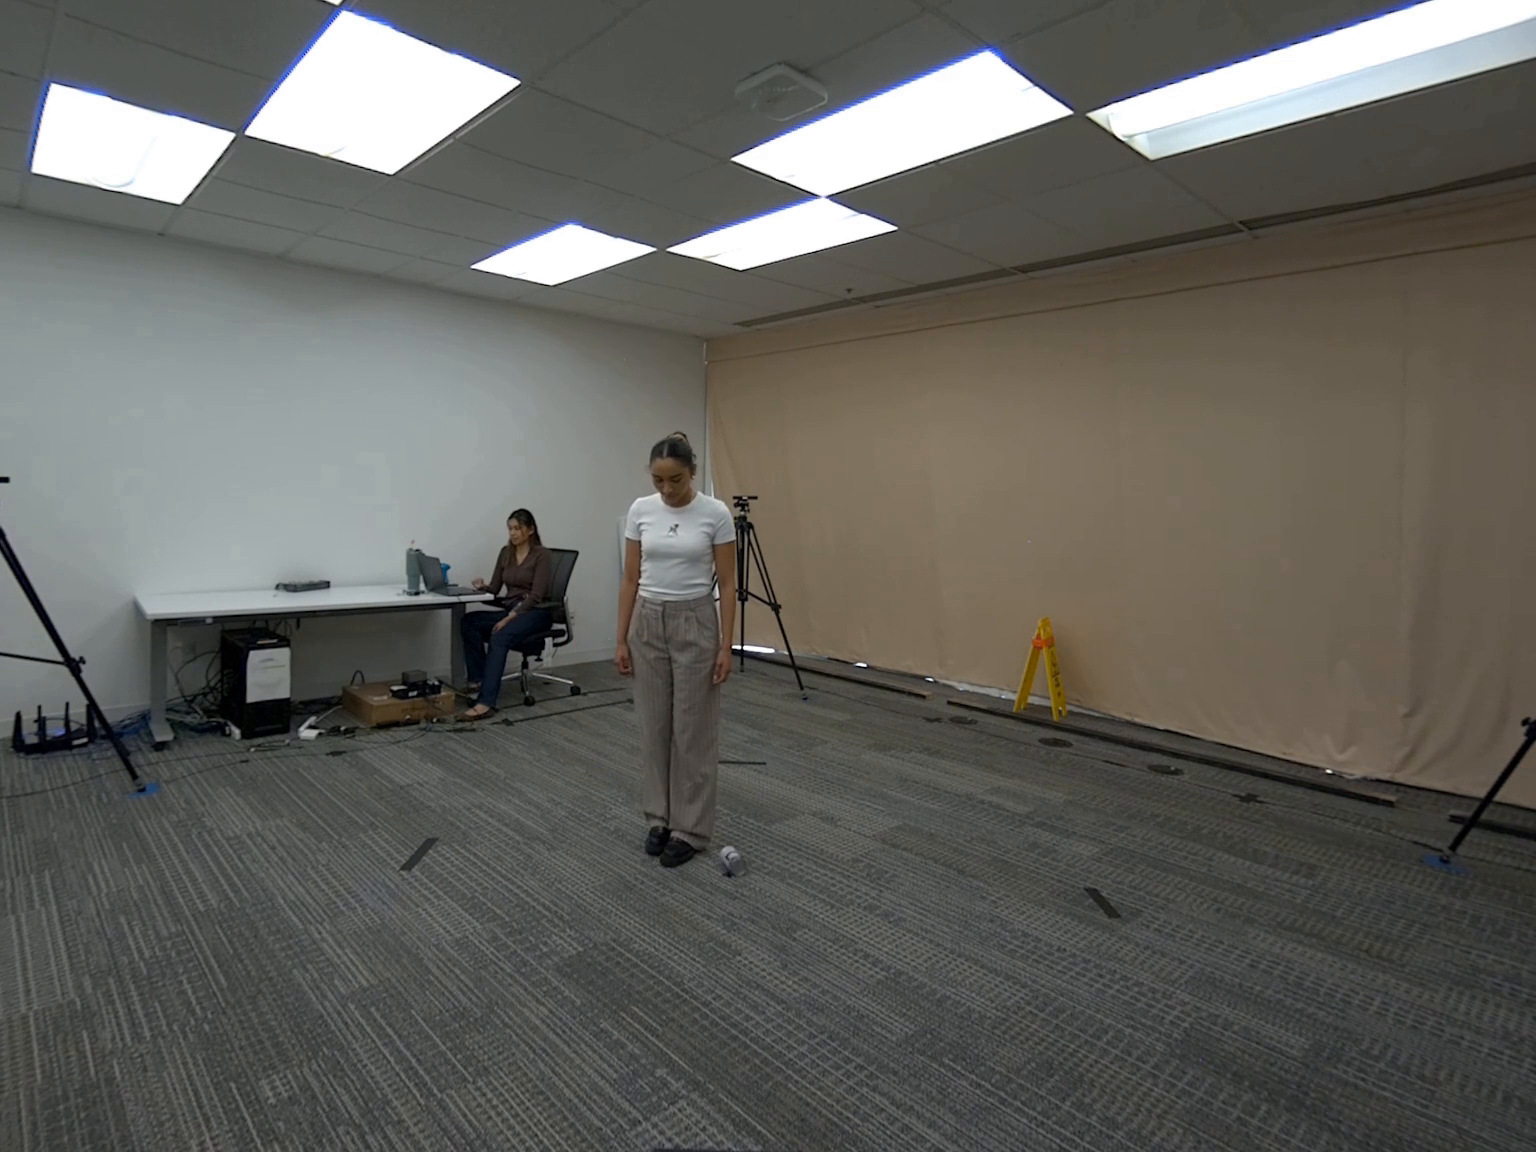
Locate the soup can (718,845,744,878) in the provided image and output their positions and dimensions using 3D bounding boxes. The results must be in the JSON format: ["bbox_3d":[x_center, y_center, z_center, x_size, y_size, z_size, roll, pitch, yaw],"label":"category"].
[{"bbox_3d":[-0.137,1.059,3.143,0.066,0.067,0.124,0,6,-20],"label":"soup can"}]
